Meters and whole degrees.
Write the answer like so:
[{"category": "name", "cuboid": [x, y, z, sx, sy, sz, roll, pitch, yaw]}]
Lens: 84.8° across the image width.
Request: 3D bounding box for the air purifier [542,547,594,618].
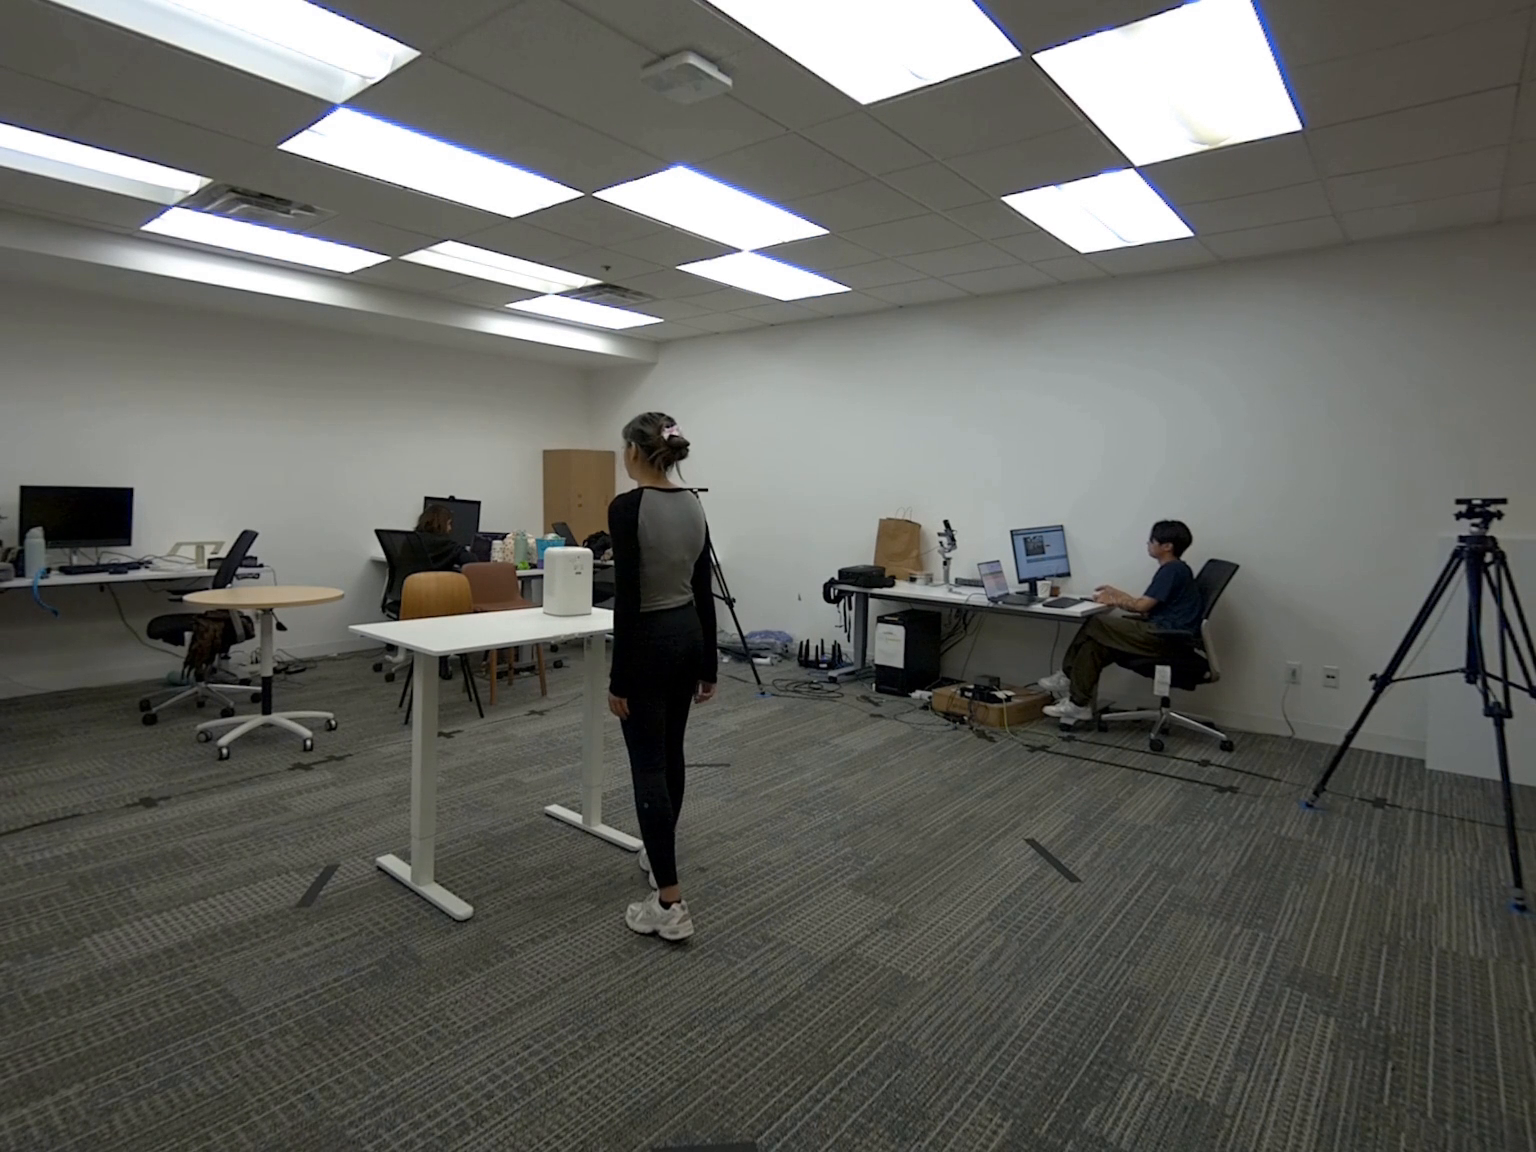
[{"category": "air purifier", "cuboid": [-0.816, 0.014, 3.431, 0.166, 0.265, 0.177, 0, 4, -39]}]
